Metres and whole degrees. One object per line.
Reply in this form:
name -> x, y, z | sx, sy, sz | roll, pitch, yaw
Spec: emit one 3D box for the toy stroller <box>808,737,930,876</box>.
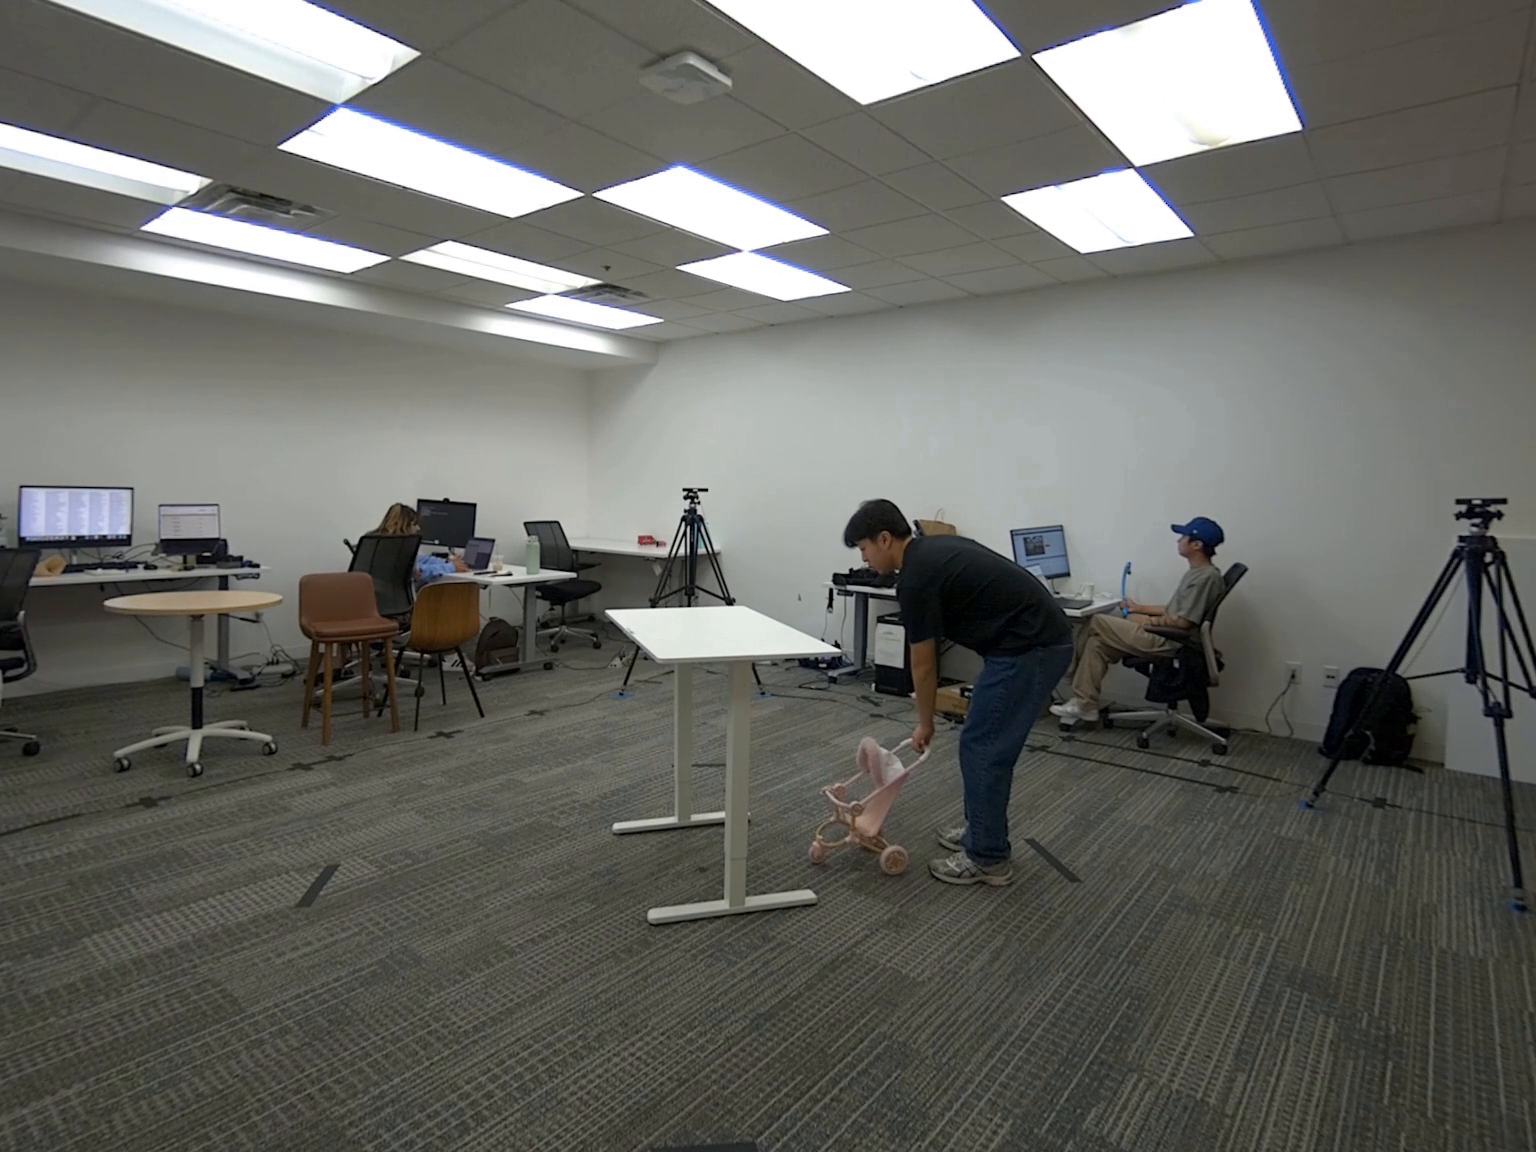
toy stroller -> 0.357, 0.846, 3.205 | 0.338, 0.534, 0.284 | 15, 2, -7
